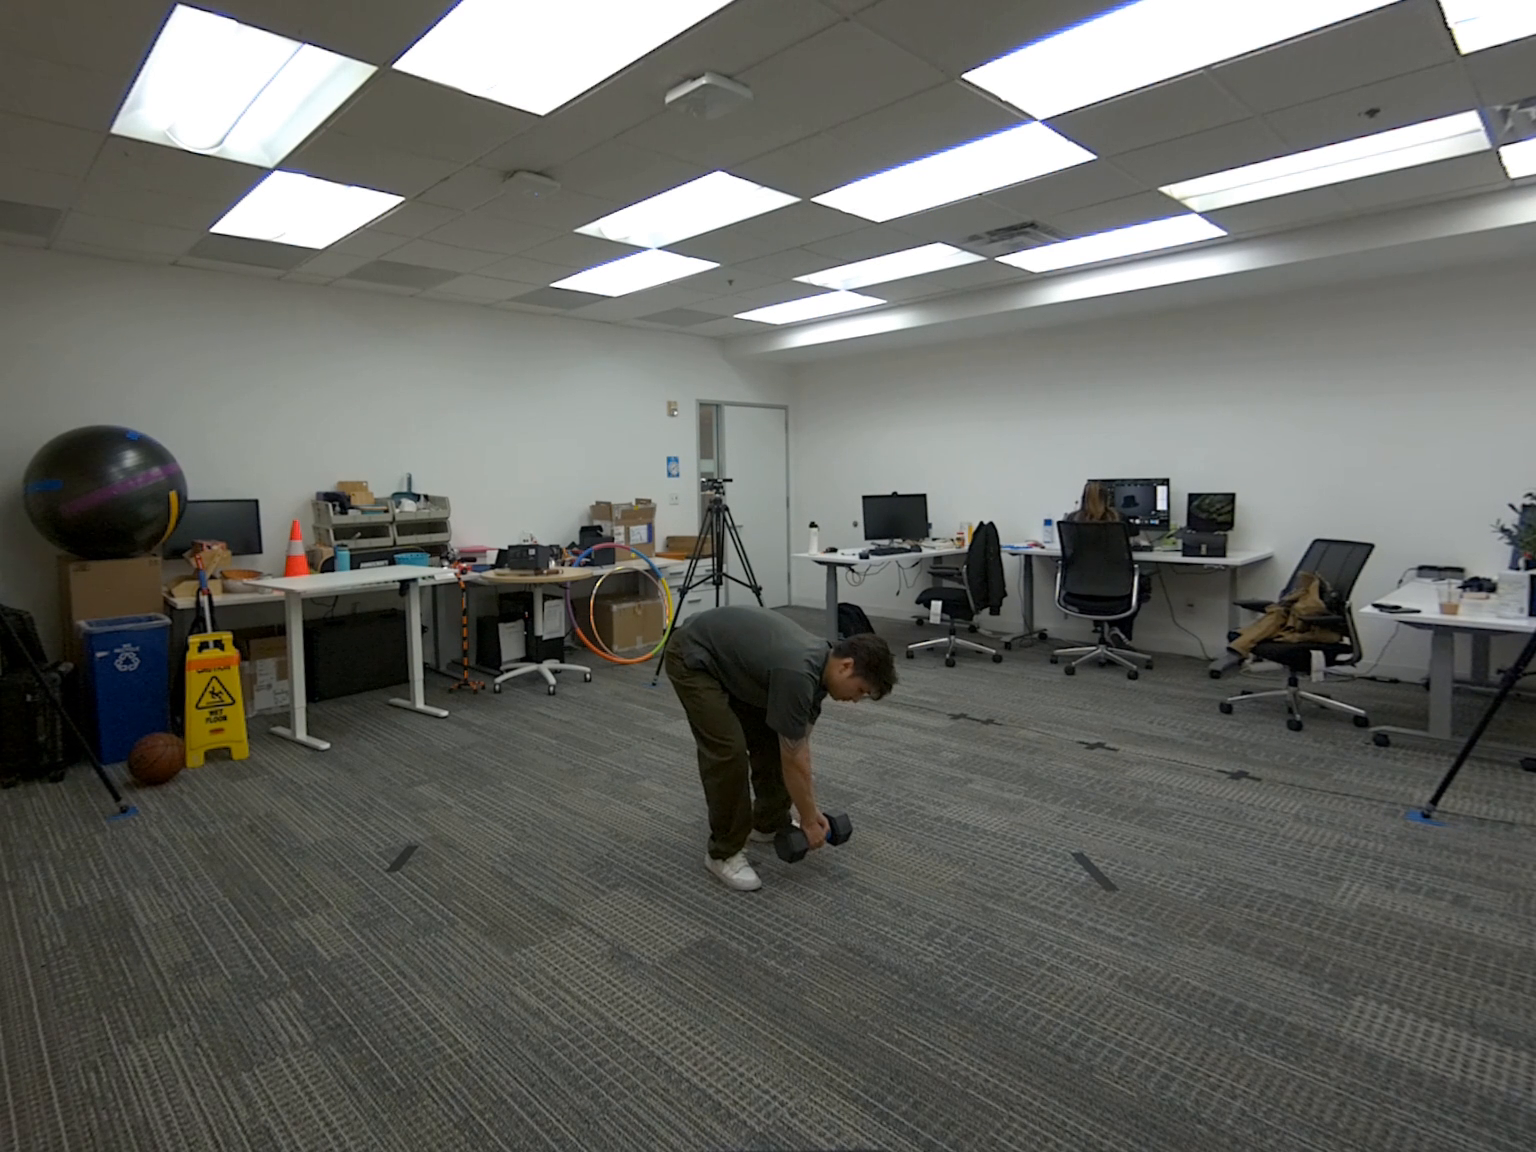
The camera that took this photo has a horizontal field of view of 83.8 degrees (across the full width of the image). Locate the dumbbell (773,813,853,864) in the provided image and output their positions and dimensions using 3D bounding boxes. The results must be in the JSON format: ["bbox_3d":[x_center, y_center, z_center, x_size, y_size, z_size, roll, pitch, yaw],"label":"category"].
[{"bbox_3d":[0.163,0.908,3.016,0.286,0.121,0.113,-8,38,-36],"label":"dumbbell"}]
